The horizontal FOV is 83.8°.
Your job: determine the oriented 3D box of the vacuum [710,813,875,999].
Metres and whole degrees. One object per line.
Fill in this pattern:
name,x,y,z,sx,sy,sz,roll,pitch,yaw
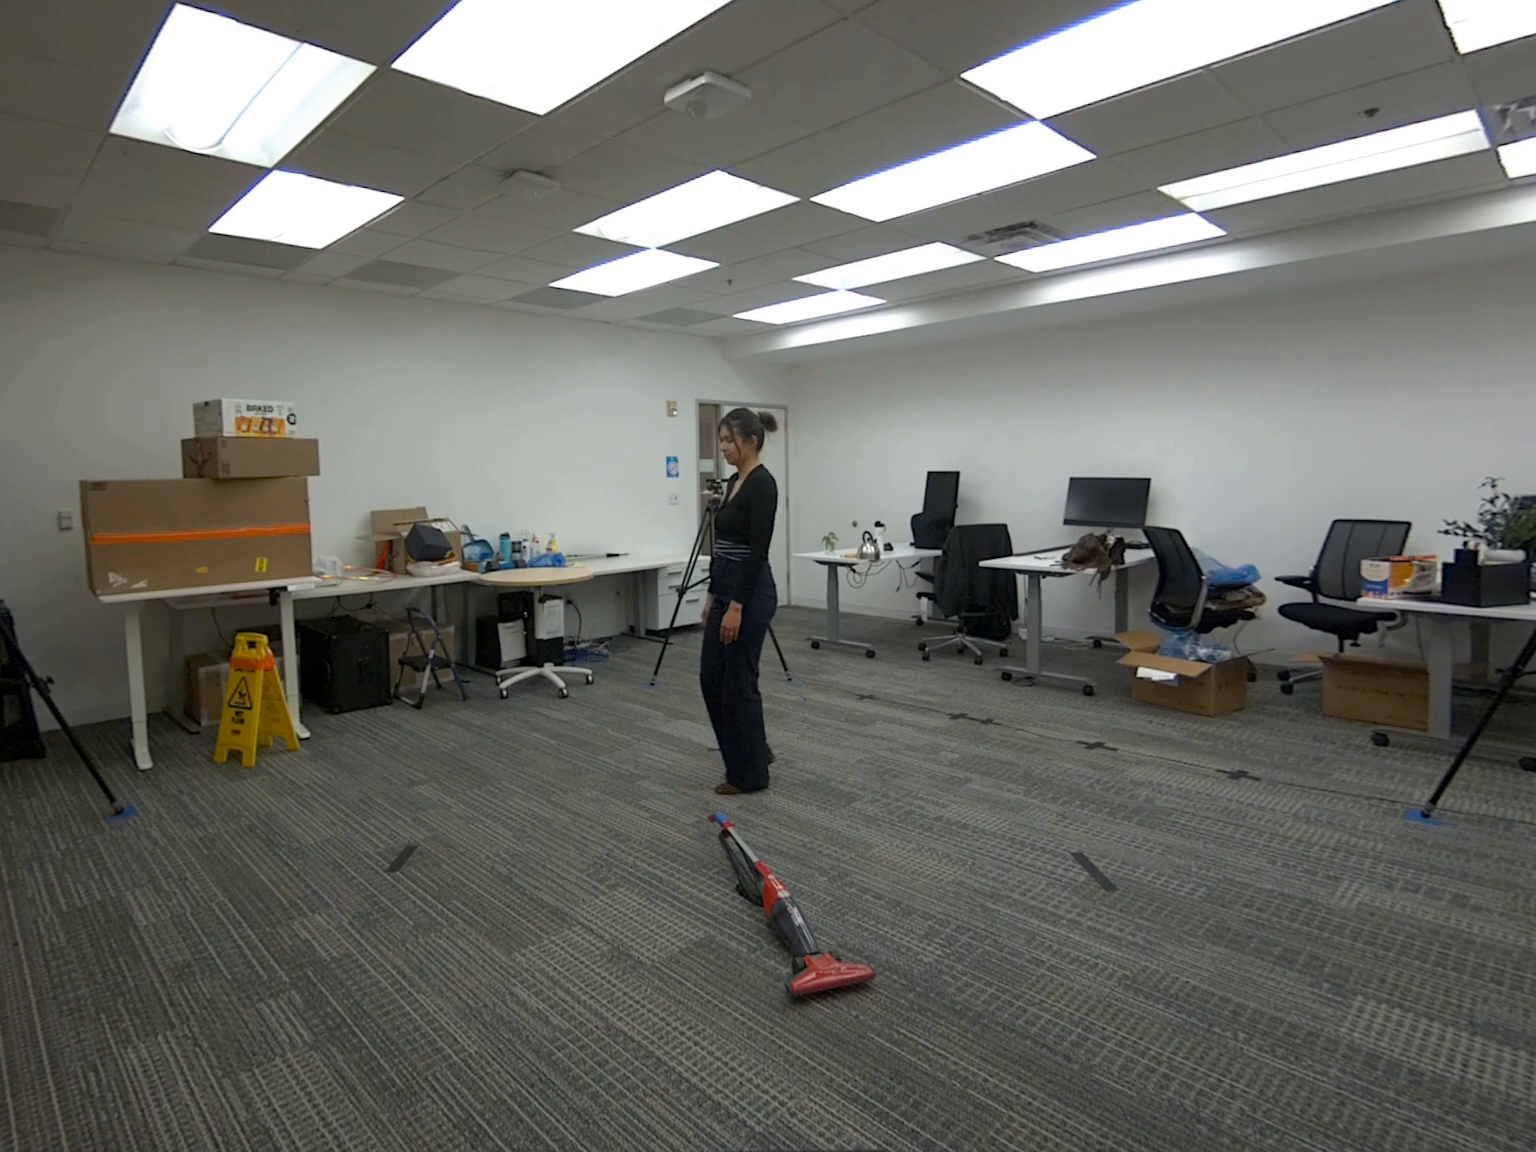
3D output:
vacuum,-0.024,1.018,2.848,0.248,0.143,1.072,2,6,-19
